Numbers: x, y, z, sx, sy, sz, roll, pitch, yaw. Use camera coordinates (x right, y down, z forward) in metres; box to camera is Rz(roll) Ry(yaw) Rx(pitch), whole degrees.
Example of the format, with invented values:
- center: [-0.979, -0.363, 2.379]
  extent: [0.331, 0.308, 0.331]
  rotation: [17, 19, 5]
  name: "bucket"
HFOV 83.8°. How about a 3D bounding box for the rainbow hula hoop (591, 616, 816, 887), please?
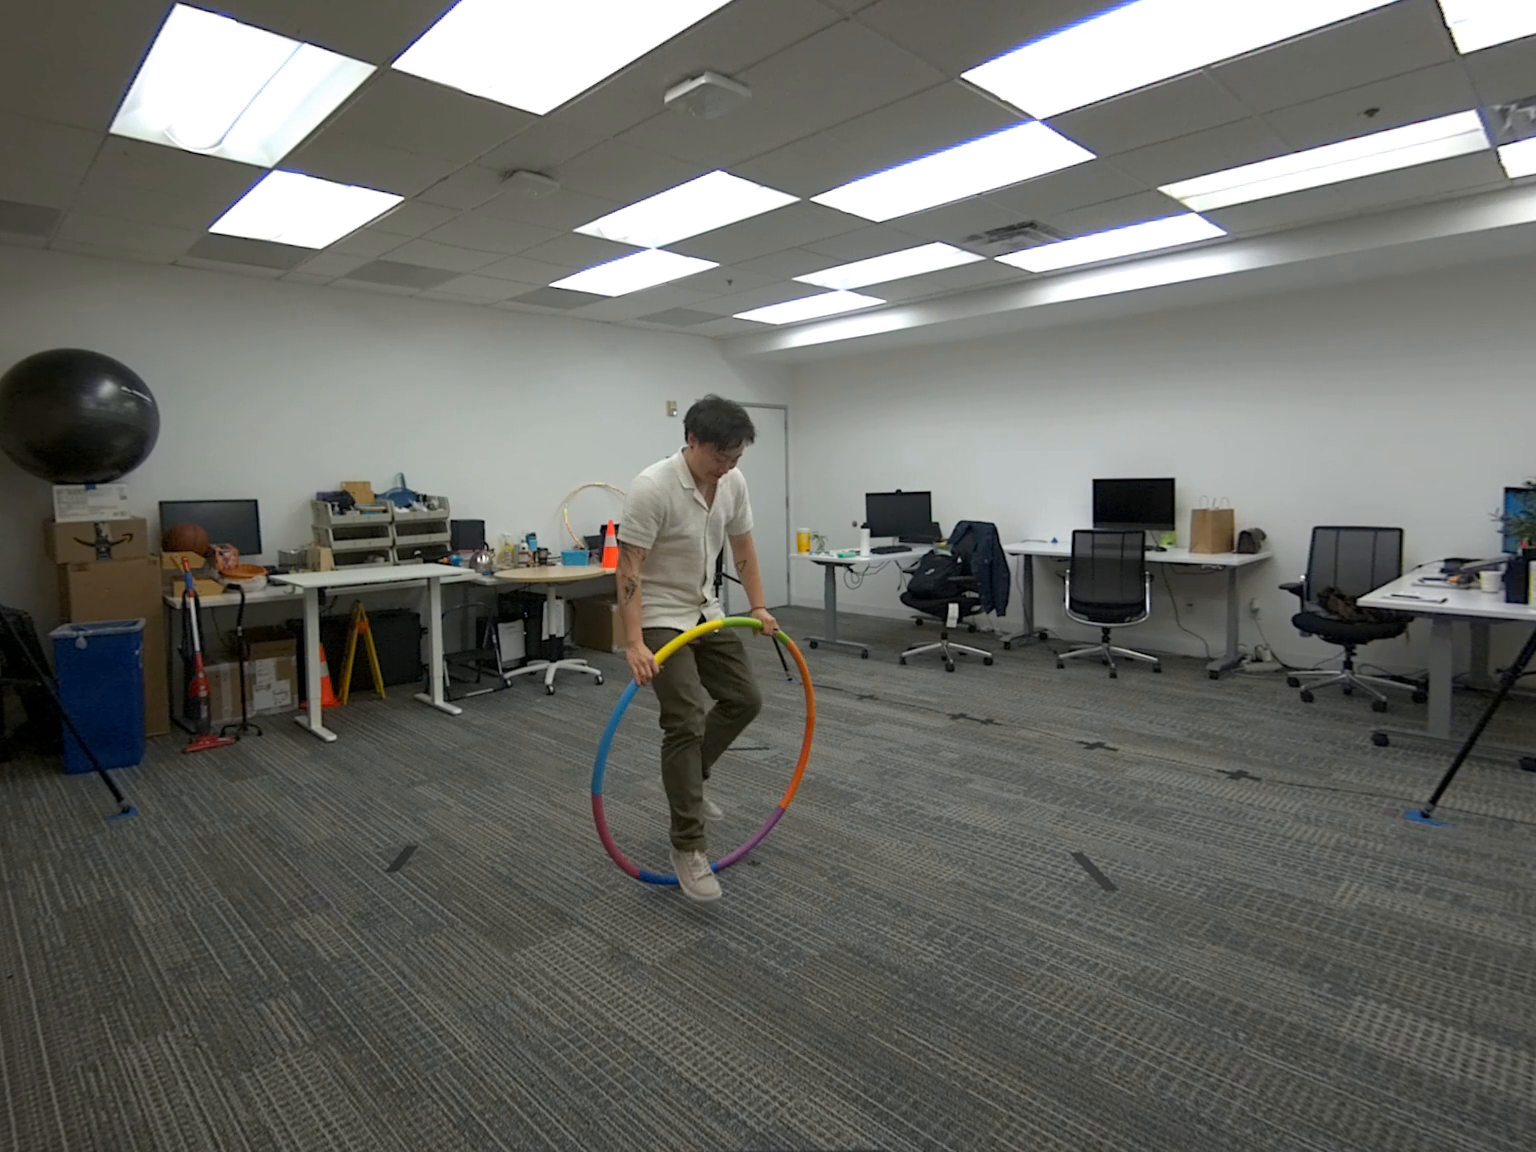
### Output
- center: [-0.171, 0.610, 2.975]
  extent: [0.037, 0.971, 0.953]
  rotation: [13, 13, 43]
  name: "rainbow hula hoop"
